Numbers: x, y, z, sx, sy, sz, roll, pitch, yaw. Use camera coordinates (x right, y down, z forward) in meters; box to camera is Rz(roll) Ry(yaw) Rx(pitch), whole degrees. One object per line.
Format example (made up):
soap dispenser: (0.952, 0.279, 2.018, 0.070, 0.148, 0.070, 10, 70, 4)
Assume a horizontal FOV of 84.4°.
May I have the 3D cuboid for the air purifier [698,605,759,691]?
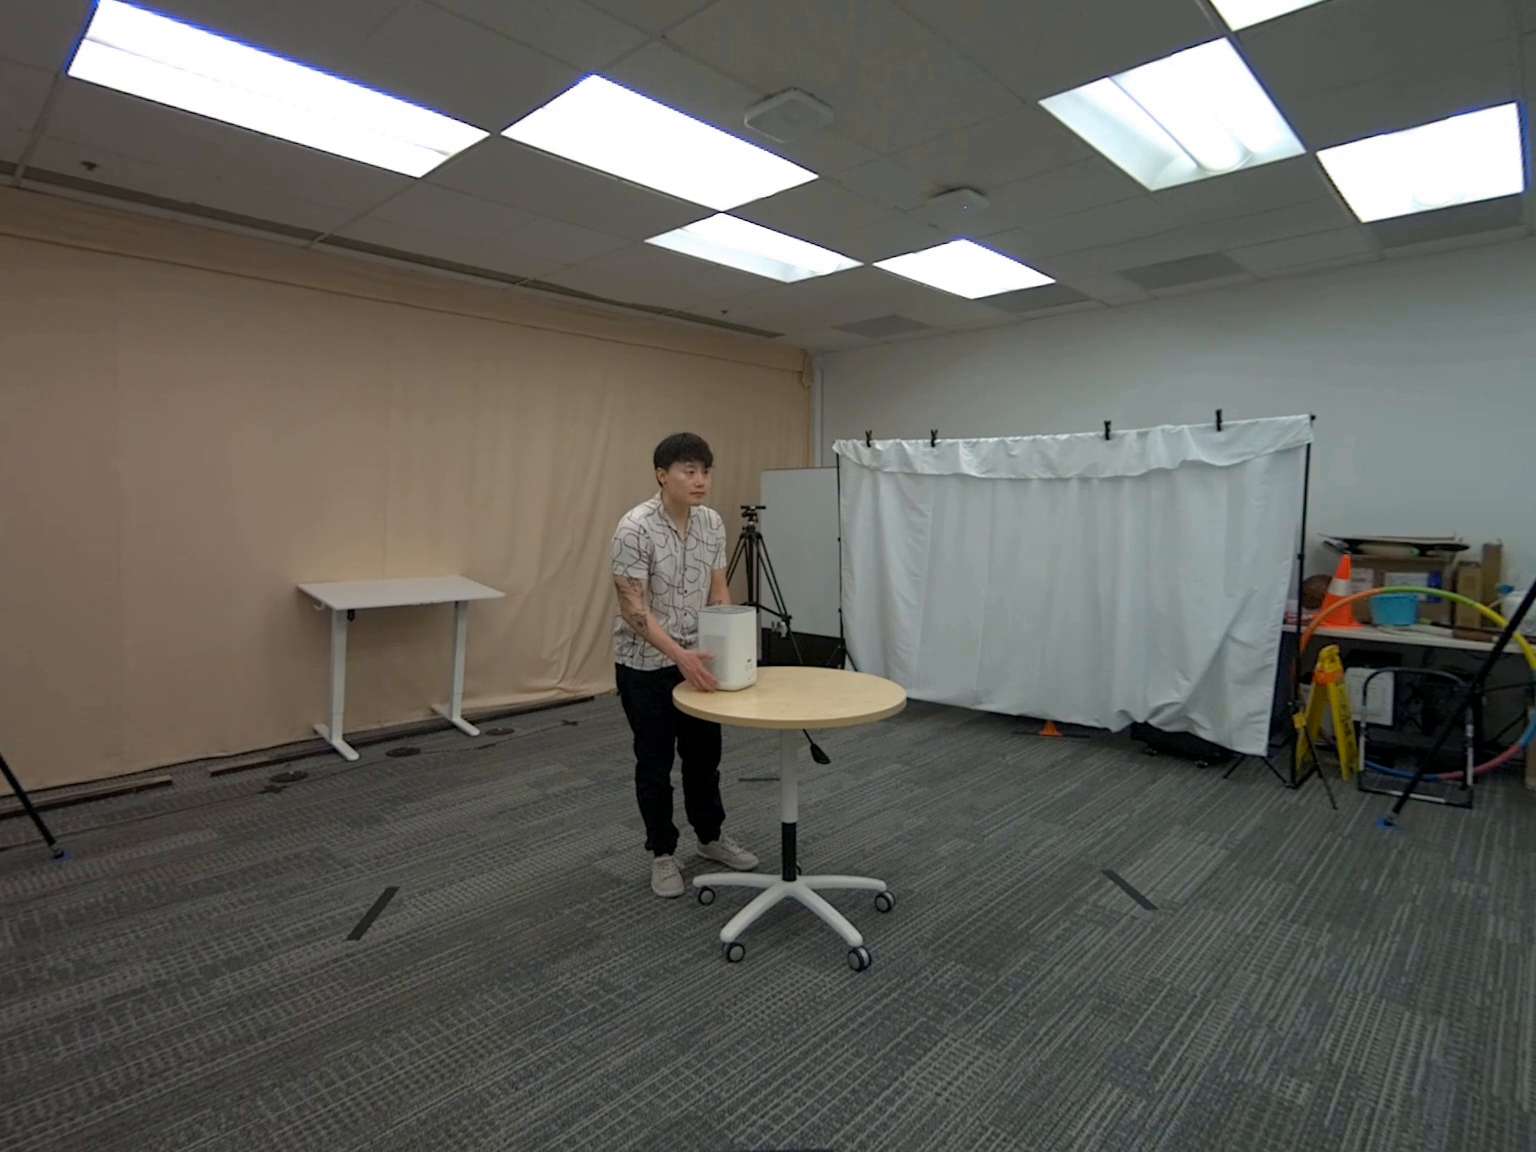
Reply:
air purifier: (-0.129, 0.244, 2.841, 0.177, 0.265, 0.166, 3, 4, 30)
